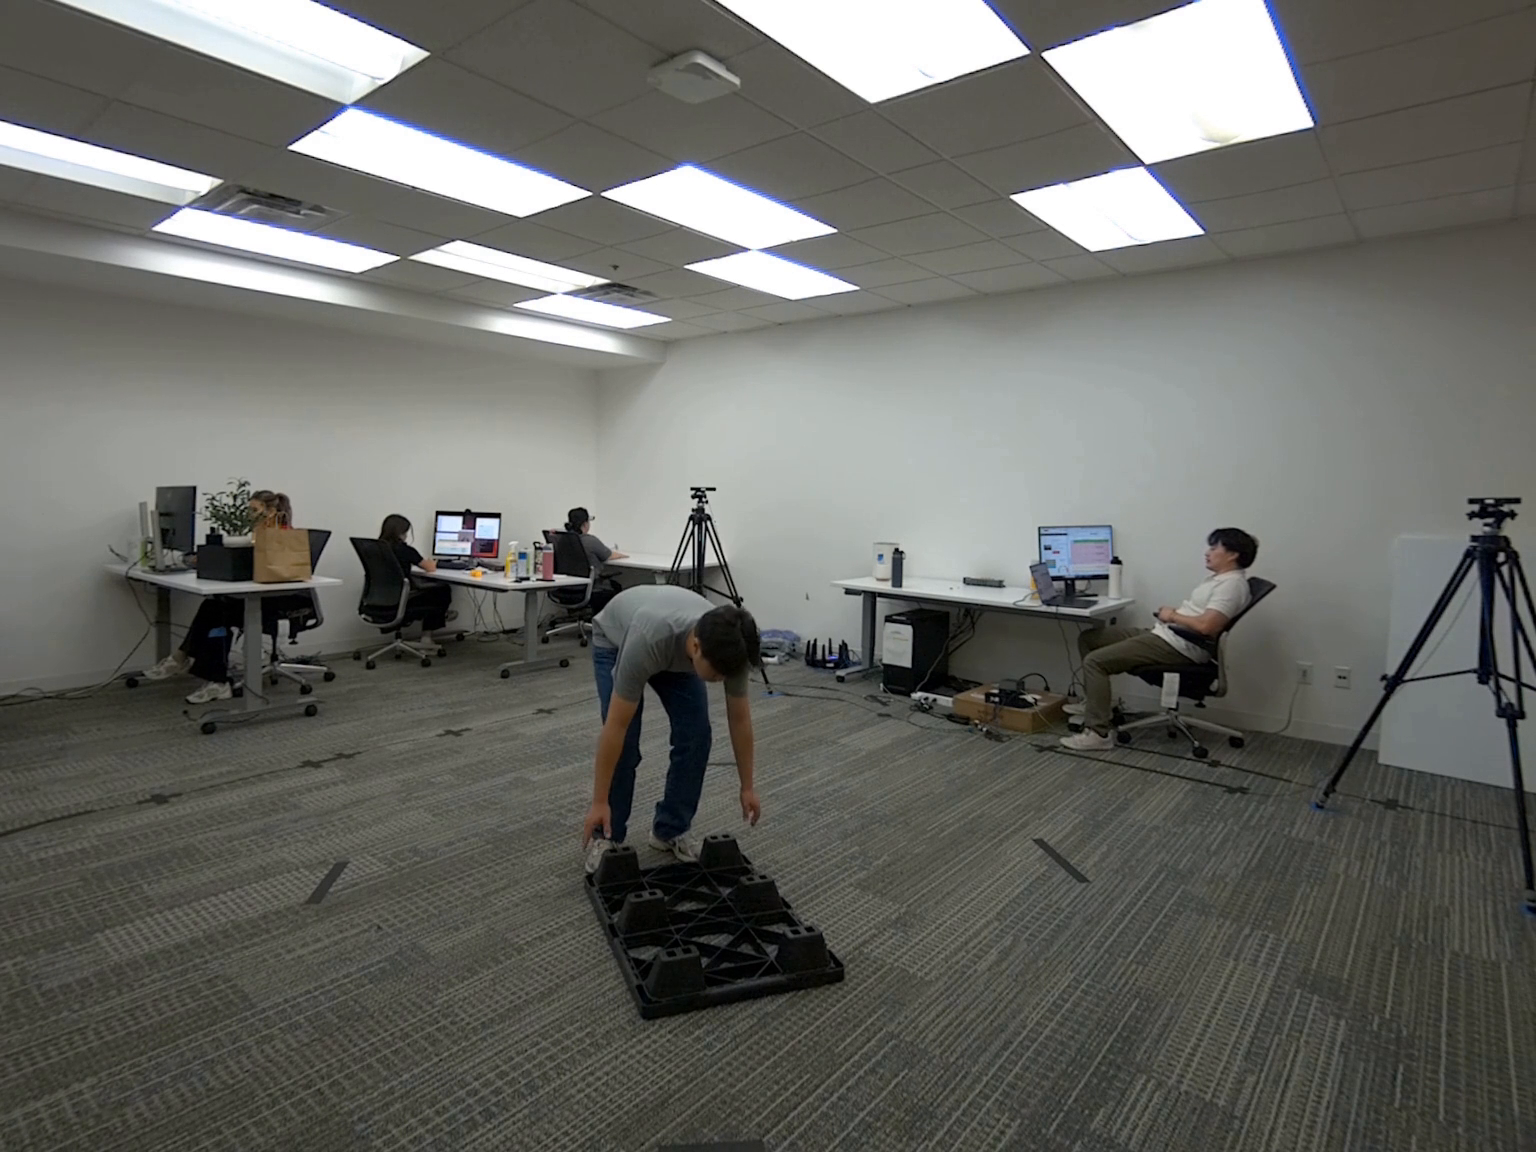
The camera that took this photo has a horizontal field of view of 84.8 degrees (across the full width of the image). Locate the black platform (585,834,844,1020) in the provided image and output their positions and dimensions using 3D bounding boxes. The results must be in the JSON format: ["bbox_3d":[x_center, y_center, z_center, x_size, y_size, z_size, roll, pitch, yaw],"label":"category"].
[{"bbox_3d":[-0.210,1.037,2.678,0.592,0.143,0.827,-2,7,-23],"label":"black platform"}]
